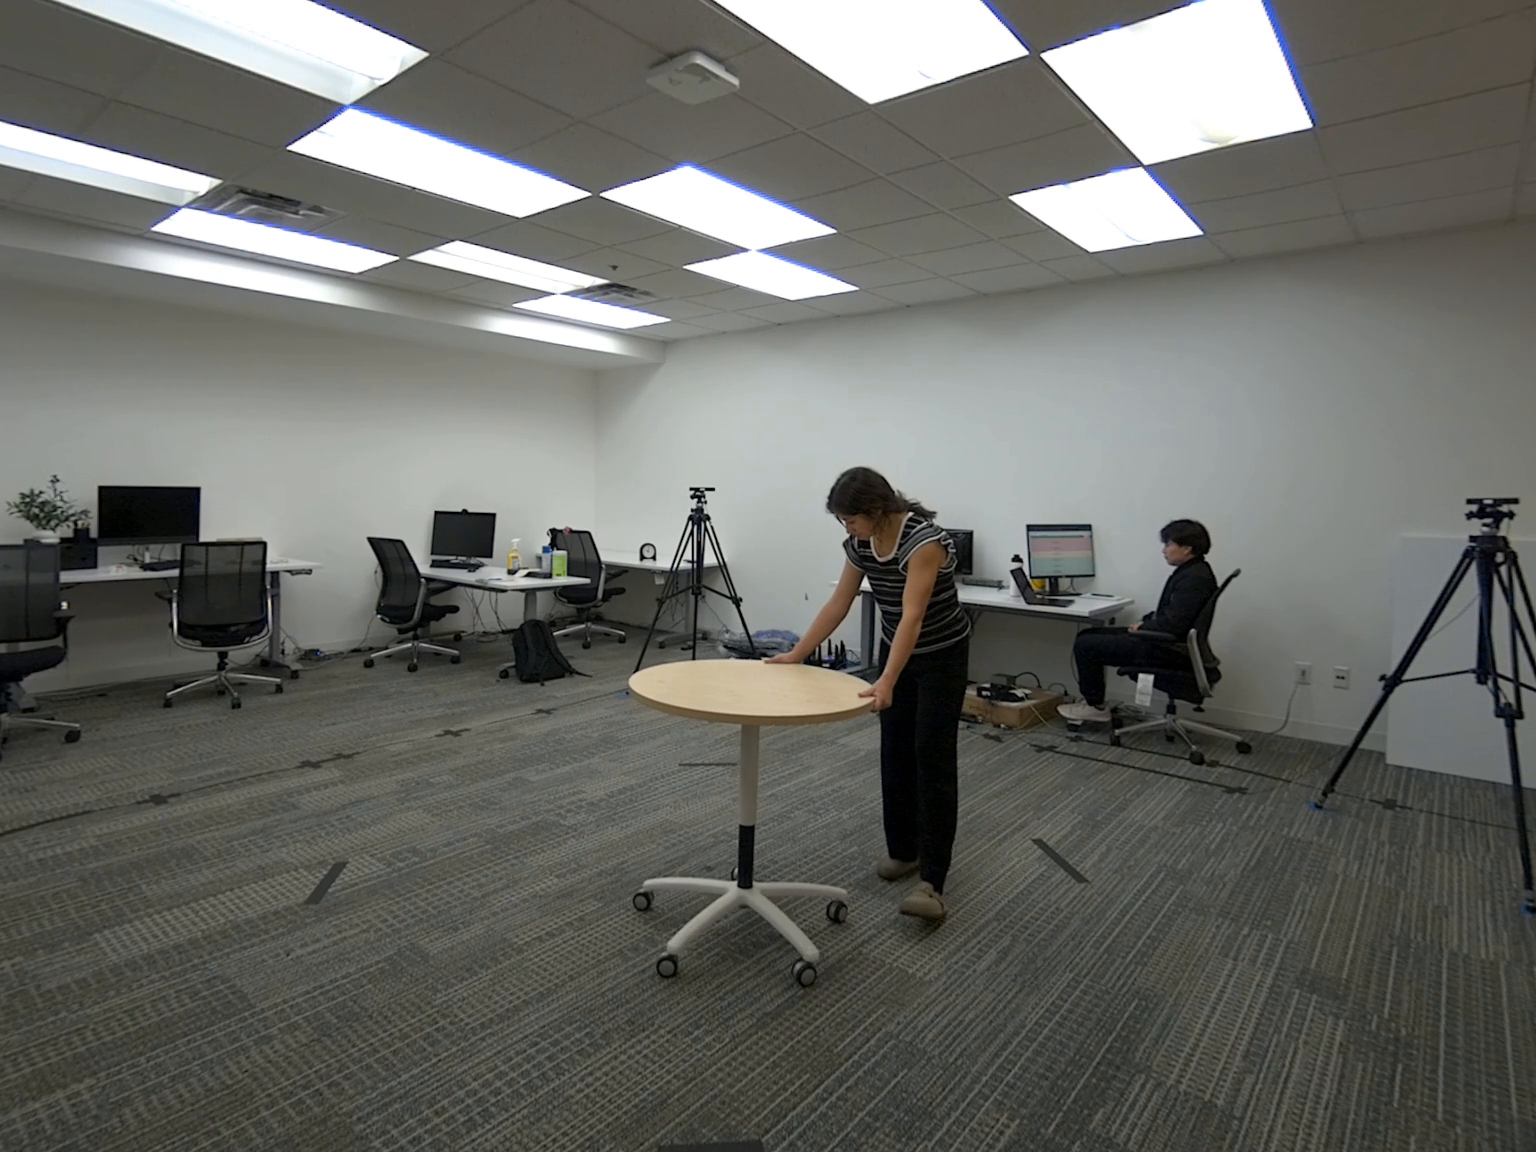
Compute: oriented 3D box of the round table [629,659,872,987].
[{"bbox_3d":[-0.081,0.724,2.664,0.763,0.792,0.767,2,4,-2],"label":"round table"}]
